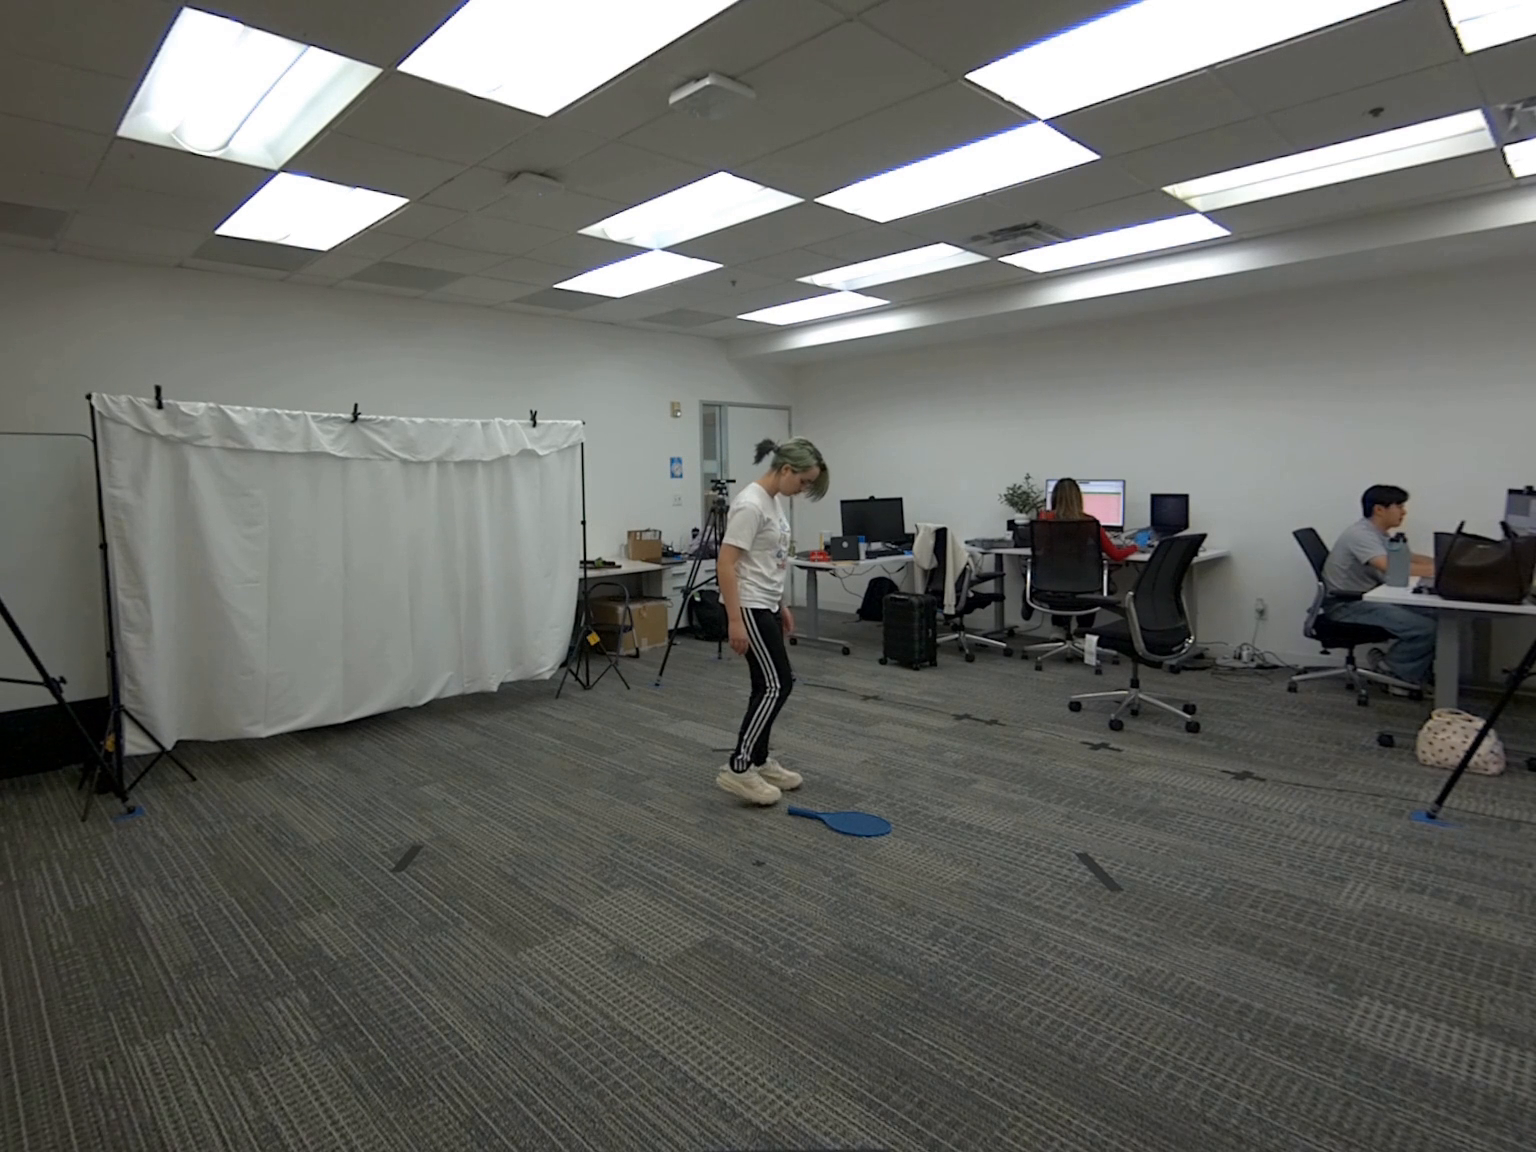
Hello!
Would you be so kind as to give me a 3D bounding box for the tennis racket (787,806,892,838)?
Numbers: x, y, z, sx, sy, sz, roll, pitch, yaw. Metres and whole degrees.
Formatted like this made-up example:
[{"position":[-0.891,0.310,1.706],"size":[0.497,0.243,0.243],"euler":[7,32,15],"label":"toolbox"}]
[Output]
[{"position":[0.286,0.989,3.470],"size":[0.444,0.031,0.209],"euler":[4,7,27],"label":"tennis racket"}]
